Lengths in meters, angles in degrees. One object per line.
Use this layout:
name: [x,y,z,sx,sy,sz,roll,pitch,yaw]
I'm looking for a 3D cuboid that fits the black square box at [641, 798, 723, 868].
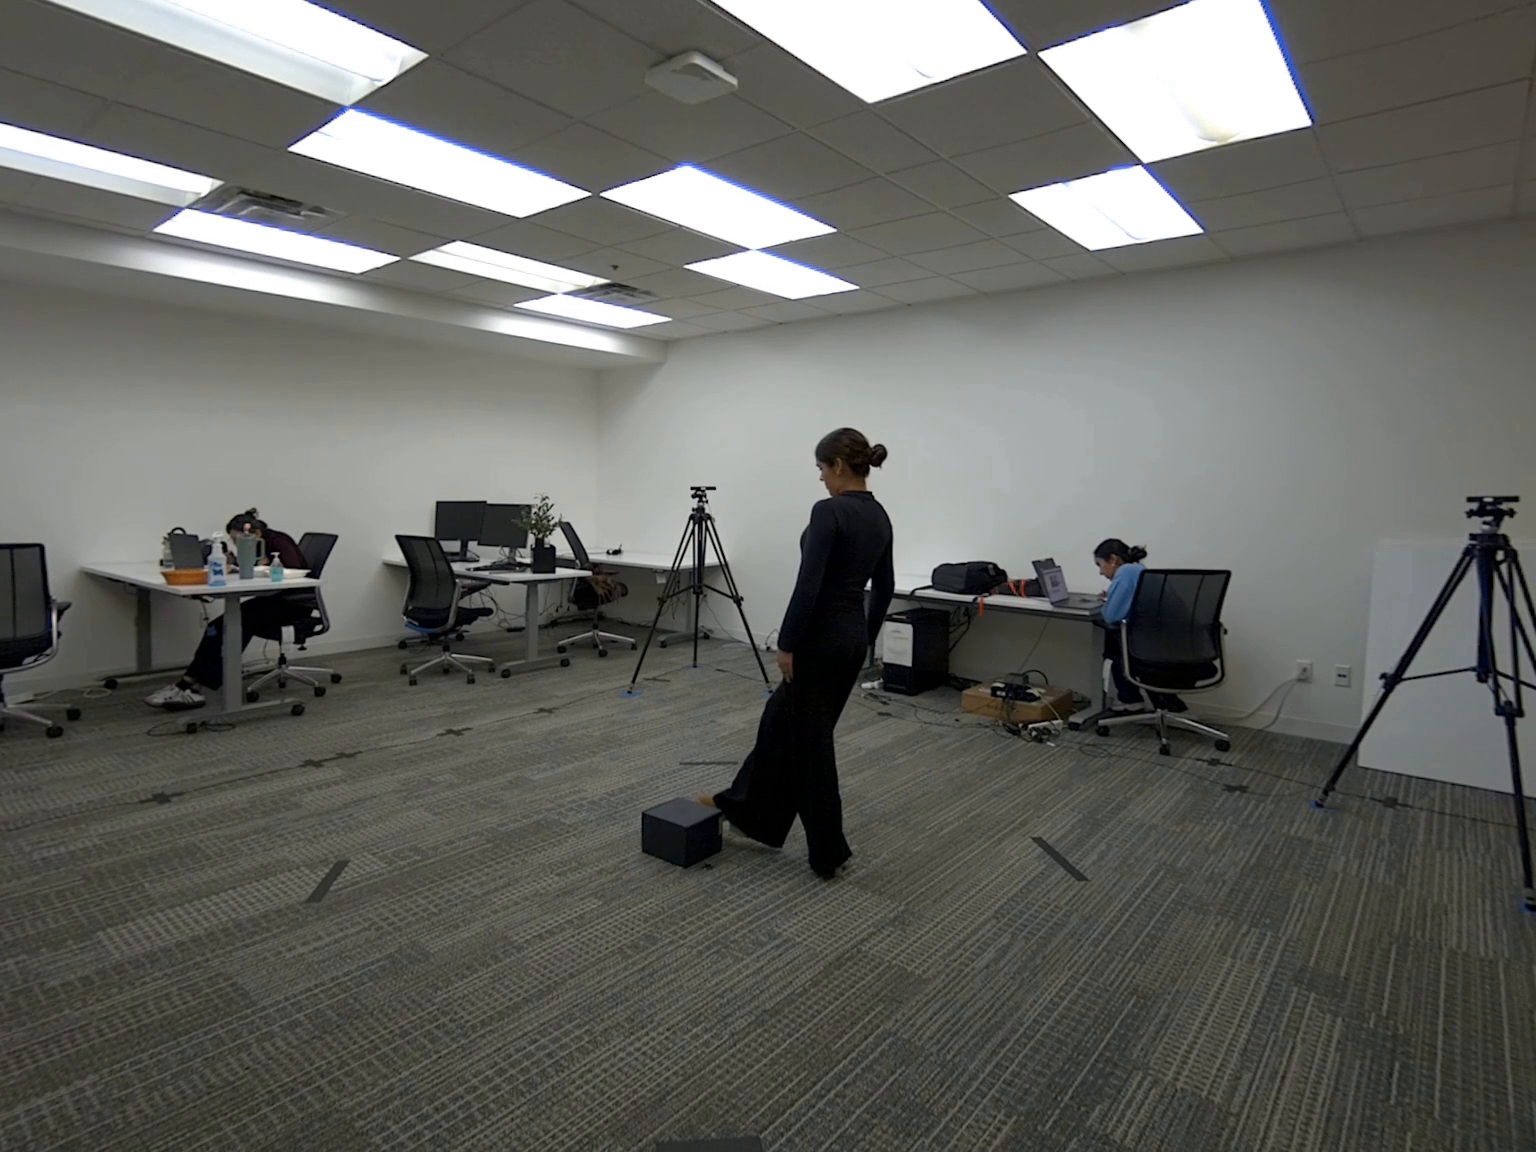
black square box: [-0.338,0.968,3.243,0.235,0.155,0.211,3,5,38]
